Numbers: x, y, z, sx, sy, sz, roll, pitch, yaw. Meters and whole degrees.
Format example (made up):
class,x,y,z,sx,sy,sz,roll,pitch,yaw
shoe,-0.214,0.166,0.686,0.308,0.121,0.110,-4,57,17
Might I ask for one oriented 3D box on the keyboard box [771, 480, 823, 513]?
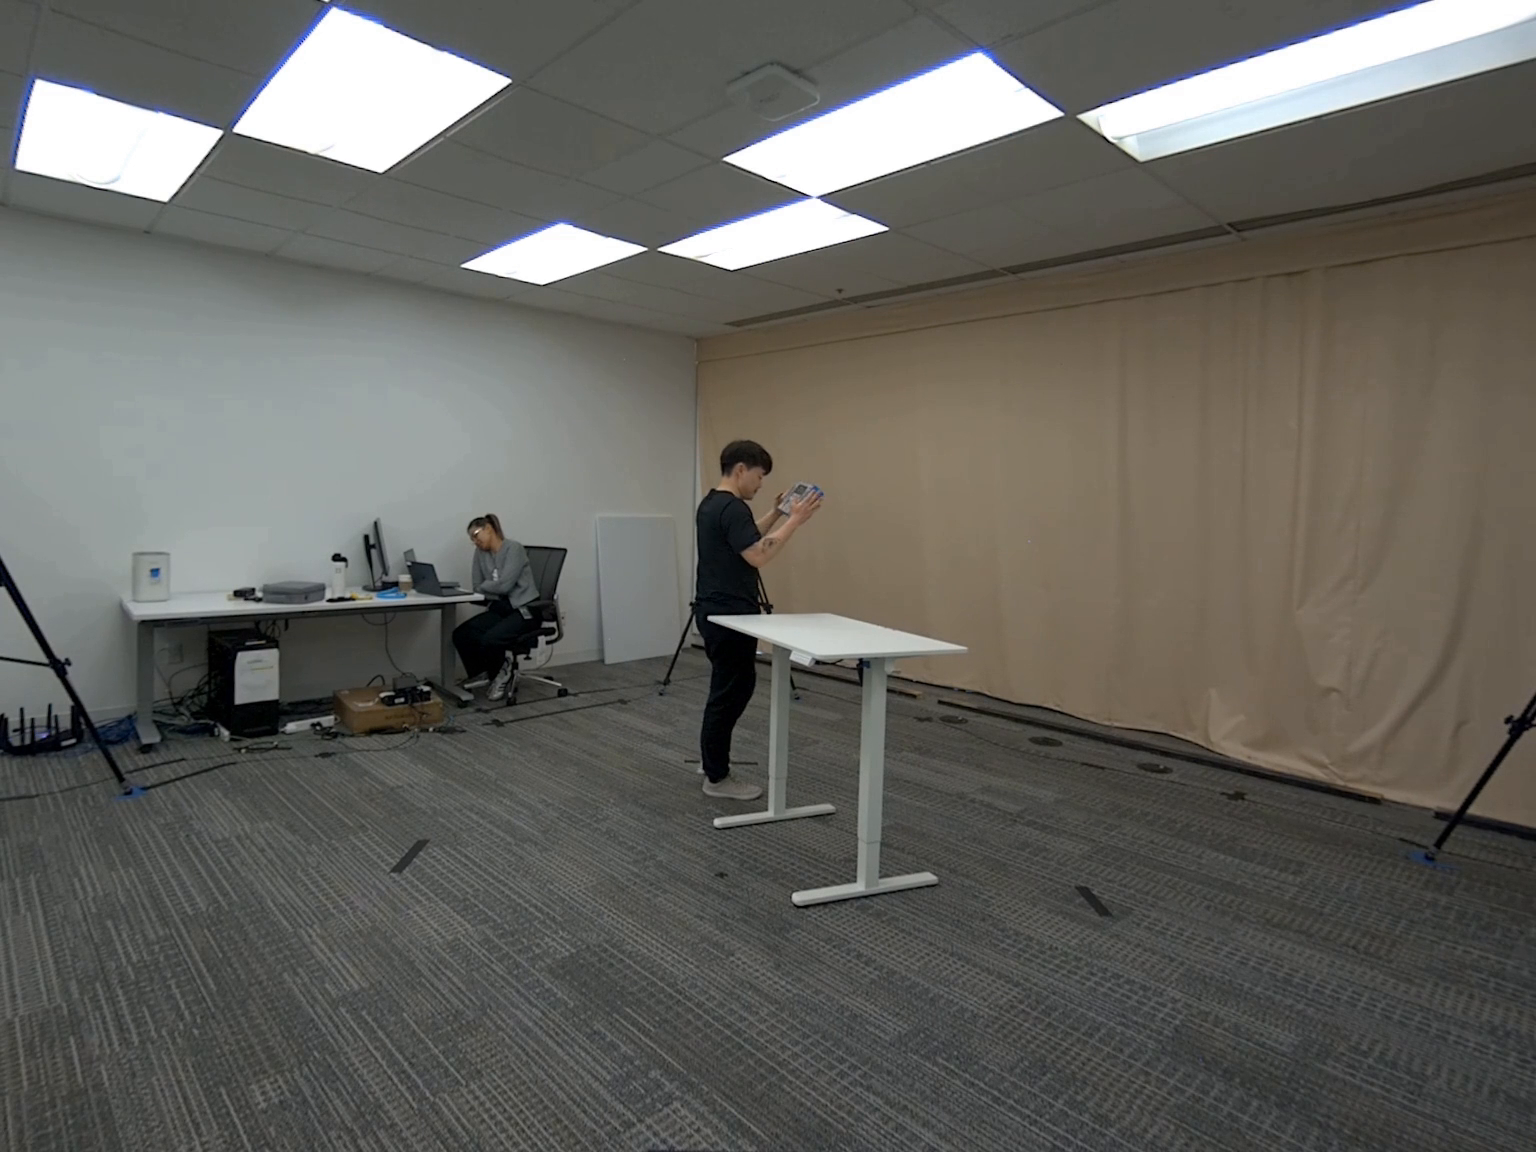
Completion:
class,x,y,z,sx,sy,sz,roll,pitch,yaw
keyboard box,0.125,-0.350,3.925,0.058,0.176,0.442,41,1,-12
